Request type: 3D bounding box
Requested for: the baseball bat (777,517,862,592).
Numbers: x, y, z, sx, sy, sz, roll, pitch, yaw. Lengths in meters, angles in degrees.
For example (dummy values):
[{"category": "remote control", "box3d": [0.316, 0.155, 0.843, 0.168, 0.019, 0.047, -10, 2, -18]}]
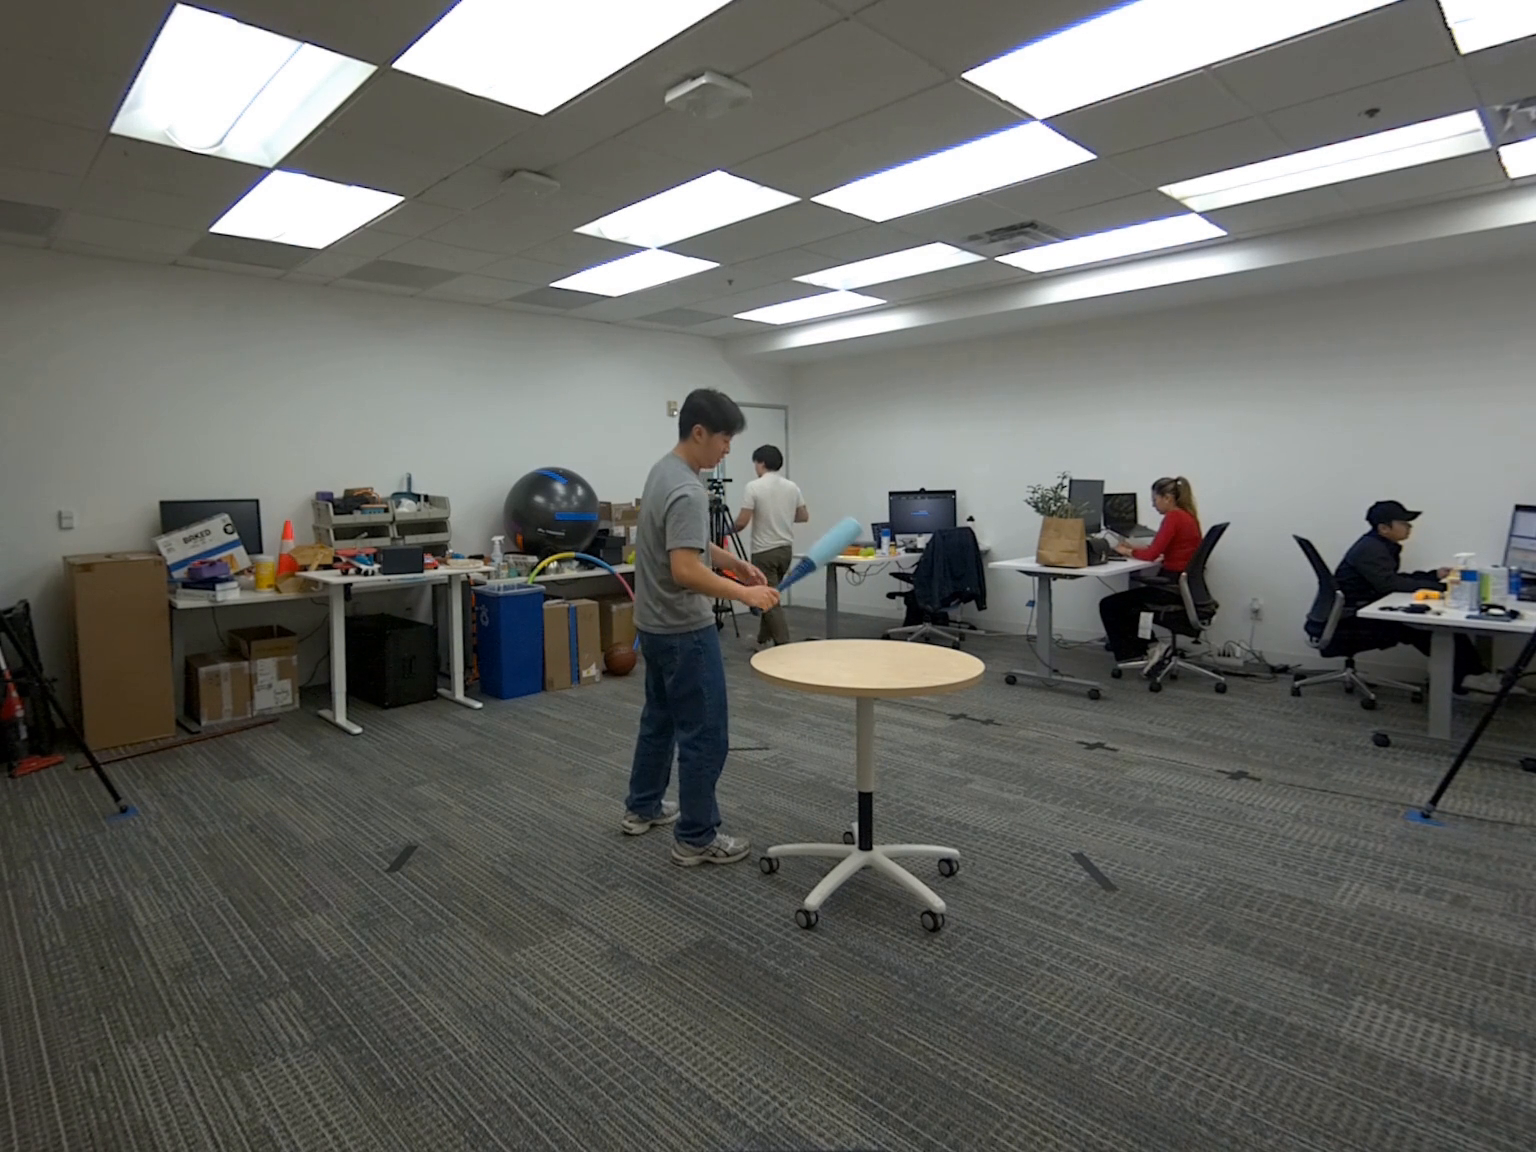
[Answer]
[{"category": "baseball bat", "box3d": [0.119, -0.029, 3.102, 0.541, 0.087, 0.091, -40, 22, -21]}]
